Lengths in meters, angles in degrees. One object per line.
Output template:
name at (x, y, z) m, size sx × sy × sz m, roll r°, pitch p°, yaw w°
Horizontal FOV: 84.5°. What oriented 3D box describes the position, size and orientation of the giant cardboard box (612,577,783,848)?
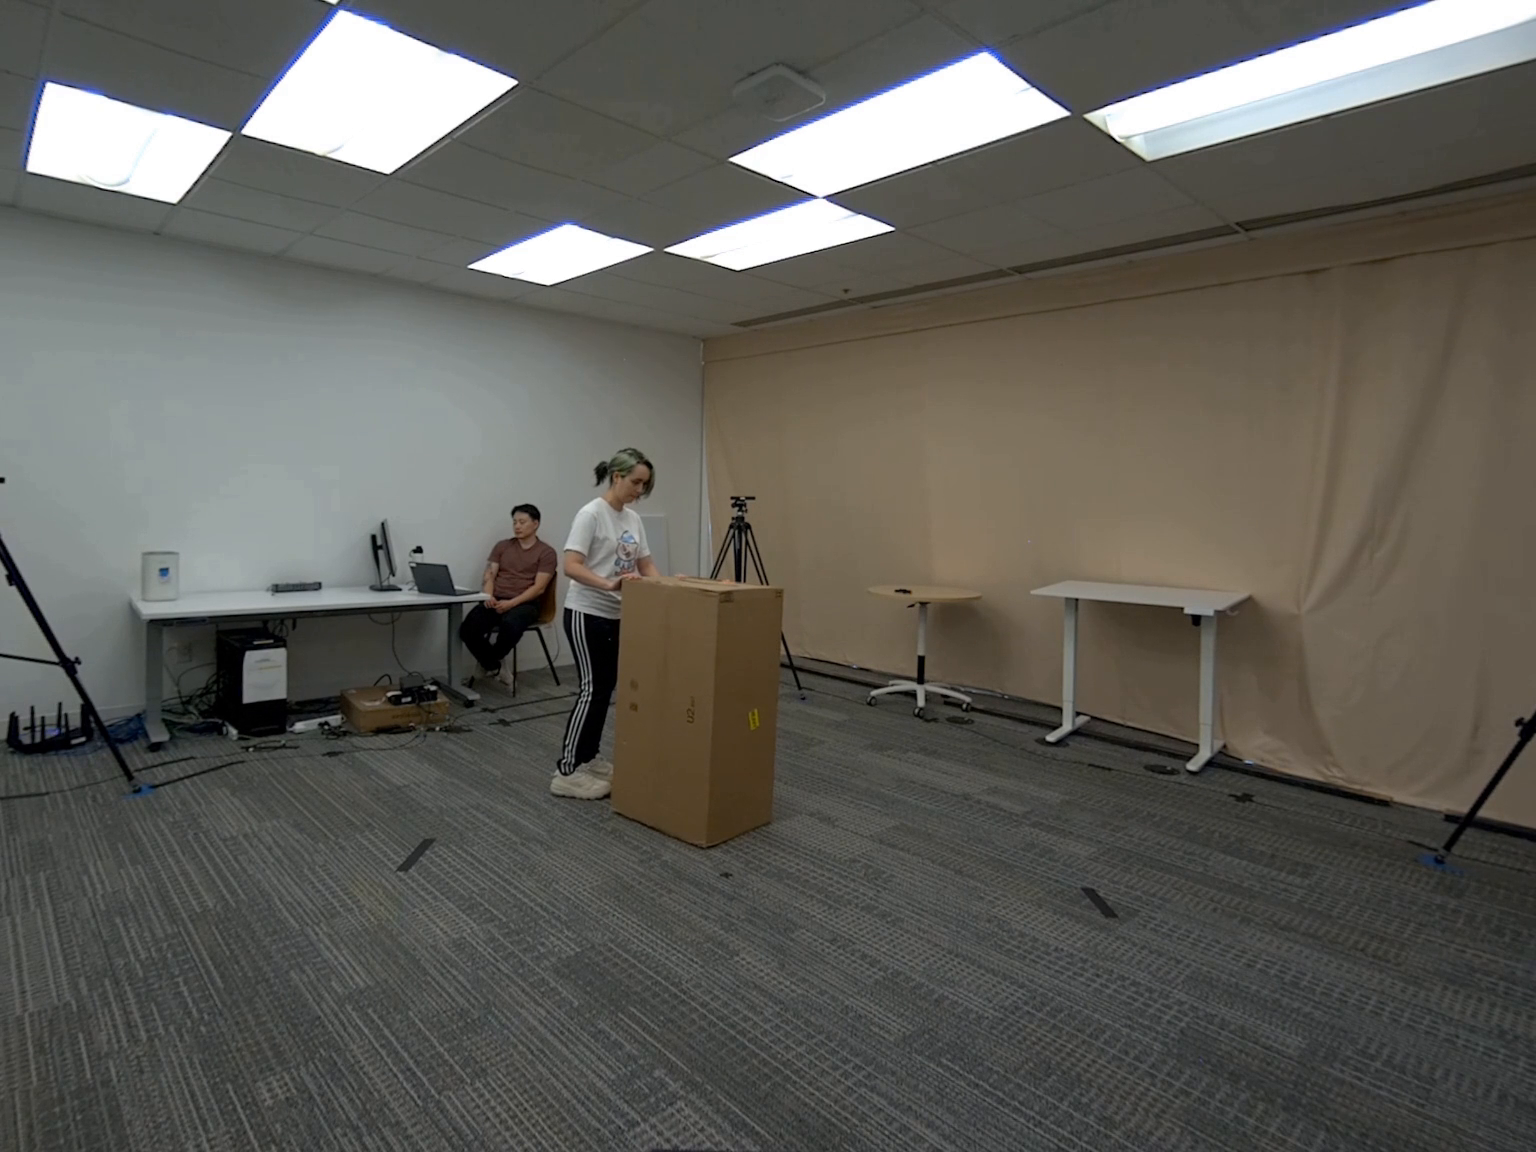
giant cardboard box at (-0.315, 0.542, 3.647) m, size 0.599 × 1.025 × 0.436 m, roll 5°, pitch 3°, yaw 39°
